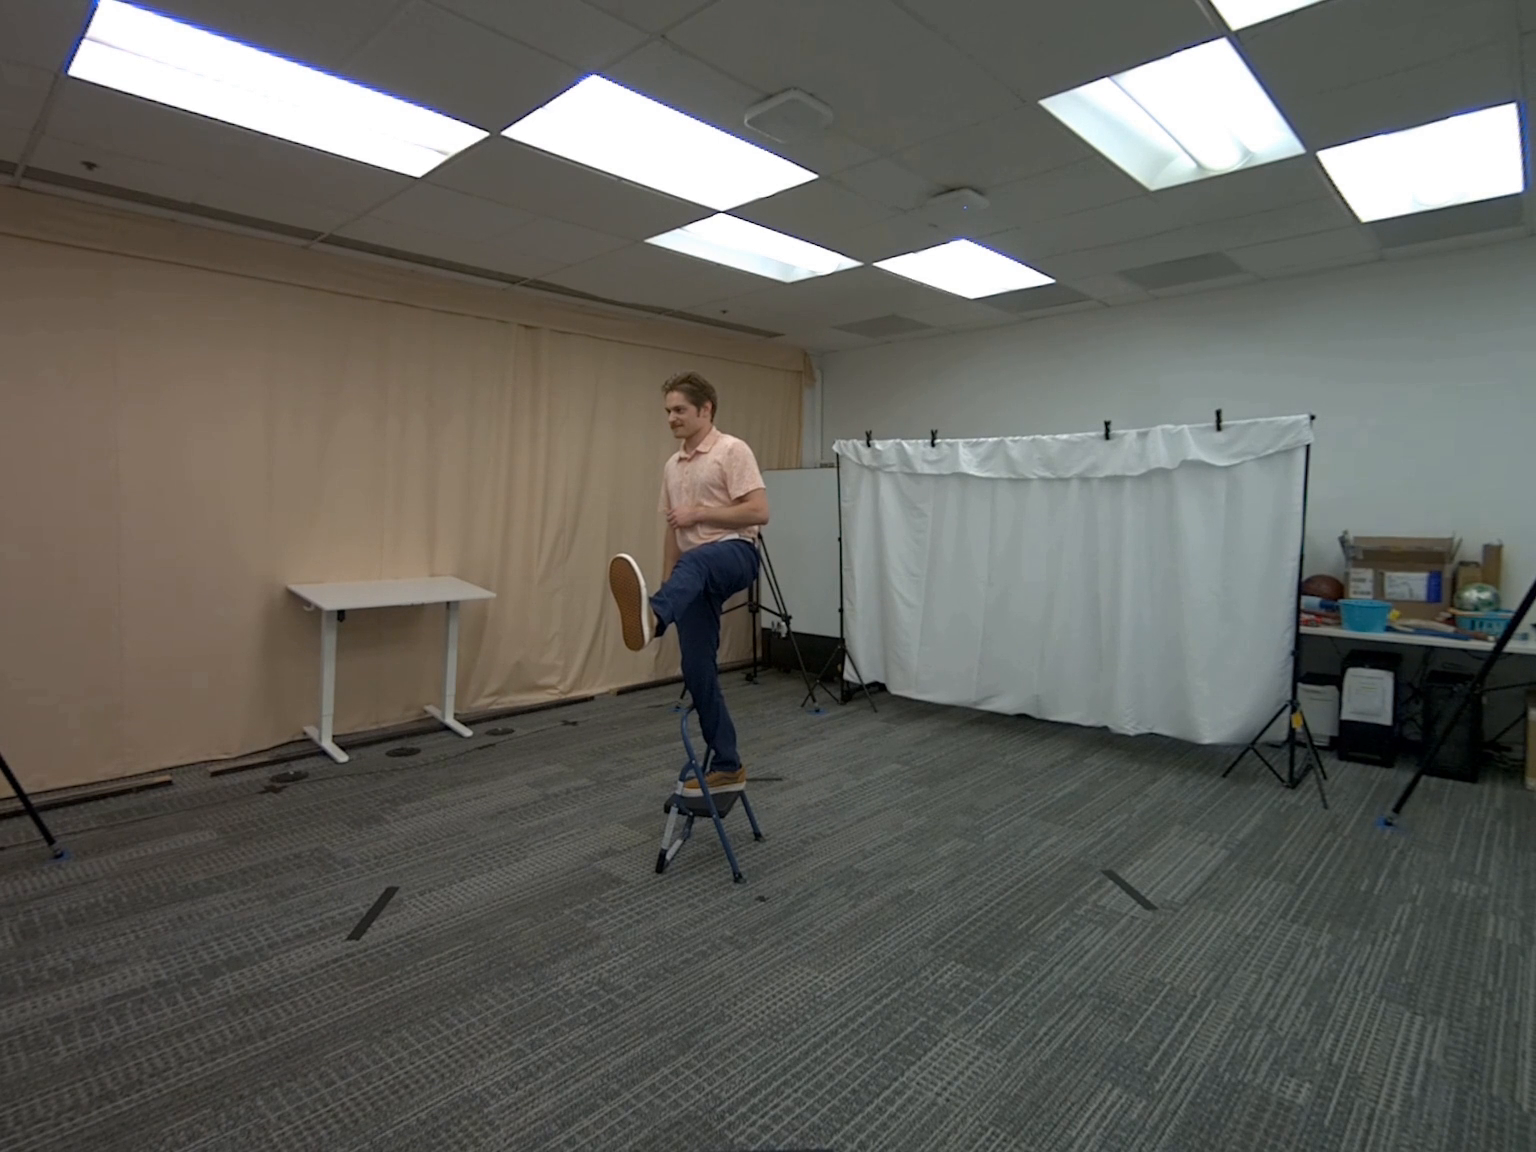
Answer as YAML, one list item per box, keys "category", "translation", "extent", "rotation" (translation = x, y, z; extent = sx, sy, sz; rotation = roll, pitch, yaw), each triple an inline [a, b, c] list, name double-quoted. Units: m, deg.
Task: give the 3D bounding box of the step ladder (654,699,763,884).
- category: "step ladder"
  translation: [-0.225, 0.816, 3.338]
  extent: [0.354, 0.605, 0.426]
  rotation: [0, 3, 11]
